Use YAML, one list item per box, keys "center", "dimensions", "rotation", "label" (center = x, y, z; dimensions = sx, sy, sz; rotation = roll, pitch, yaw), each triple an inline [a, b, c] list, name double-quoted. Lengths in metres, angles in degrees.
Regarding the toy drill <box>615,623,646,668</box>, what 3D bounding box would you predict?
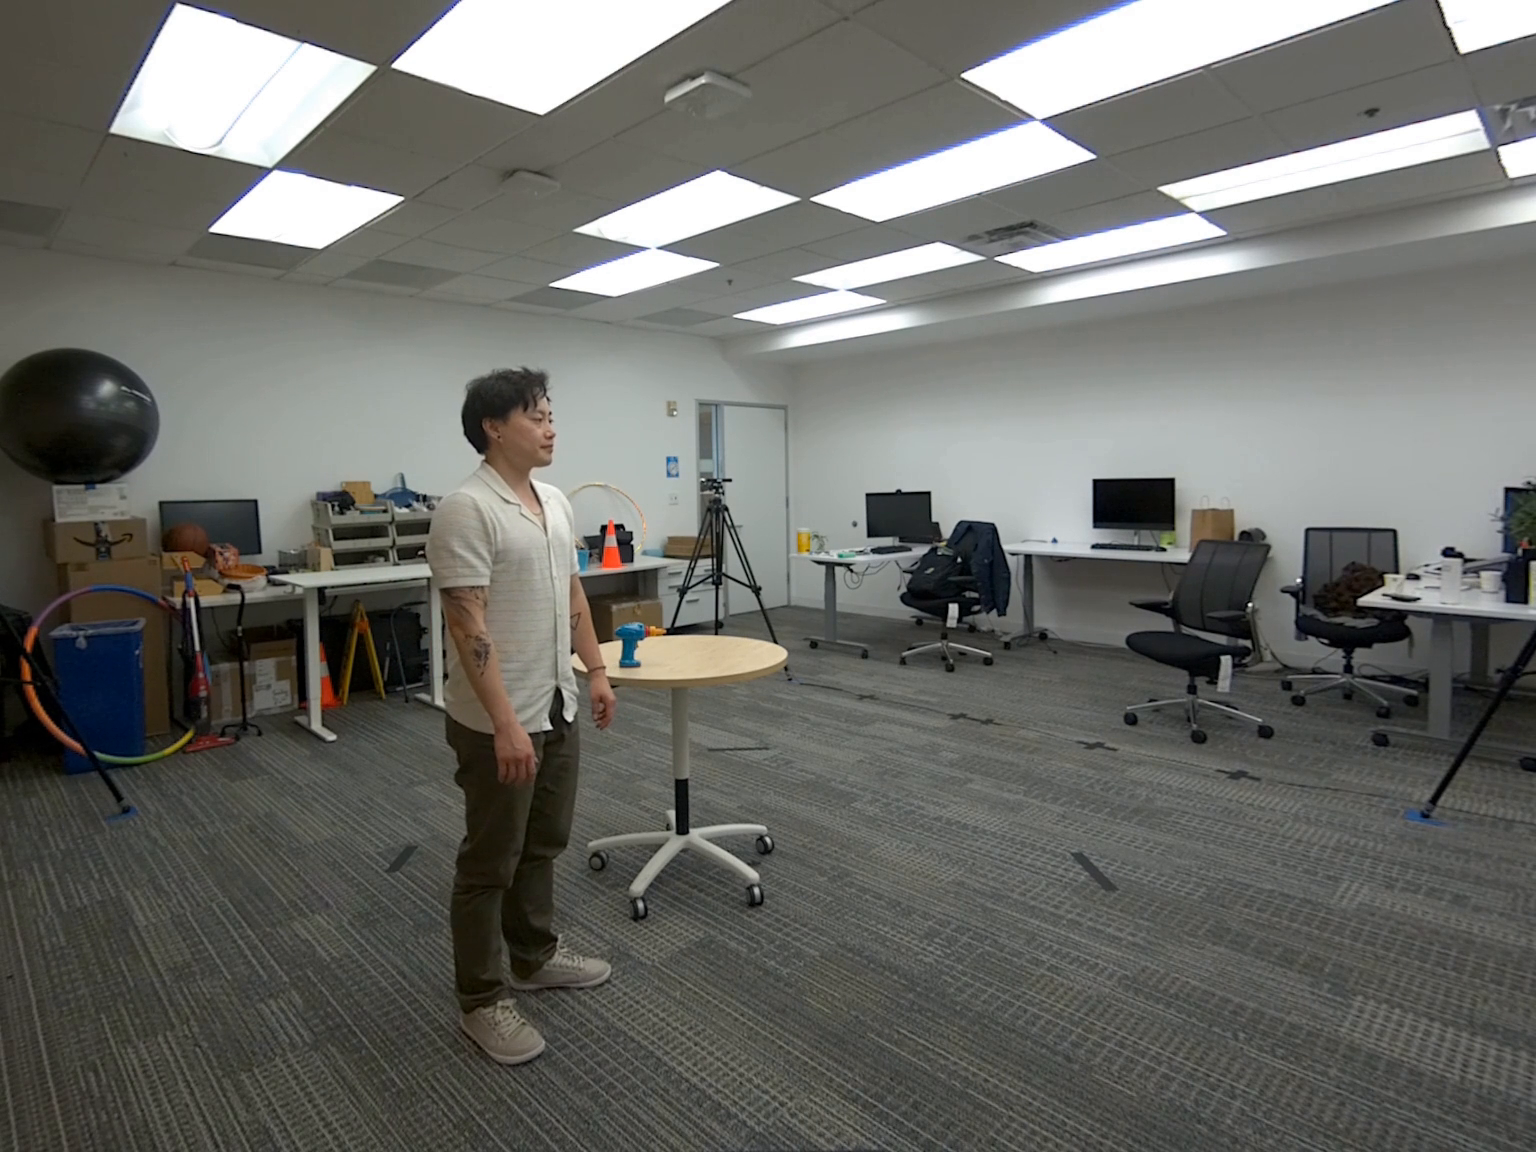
- center: [-0.424, 0.226, 2.829]
  dimensions: [0.168, 0.146, 0.062]
  rotation: [-3, 0, -12]
  label: "toy drill"
